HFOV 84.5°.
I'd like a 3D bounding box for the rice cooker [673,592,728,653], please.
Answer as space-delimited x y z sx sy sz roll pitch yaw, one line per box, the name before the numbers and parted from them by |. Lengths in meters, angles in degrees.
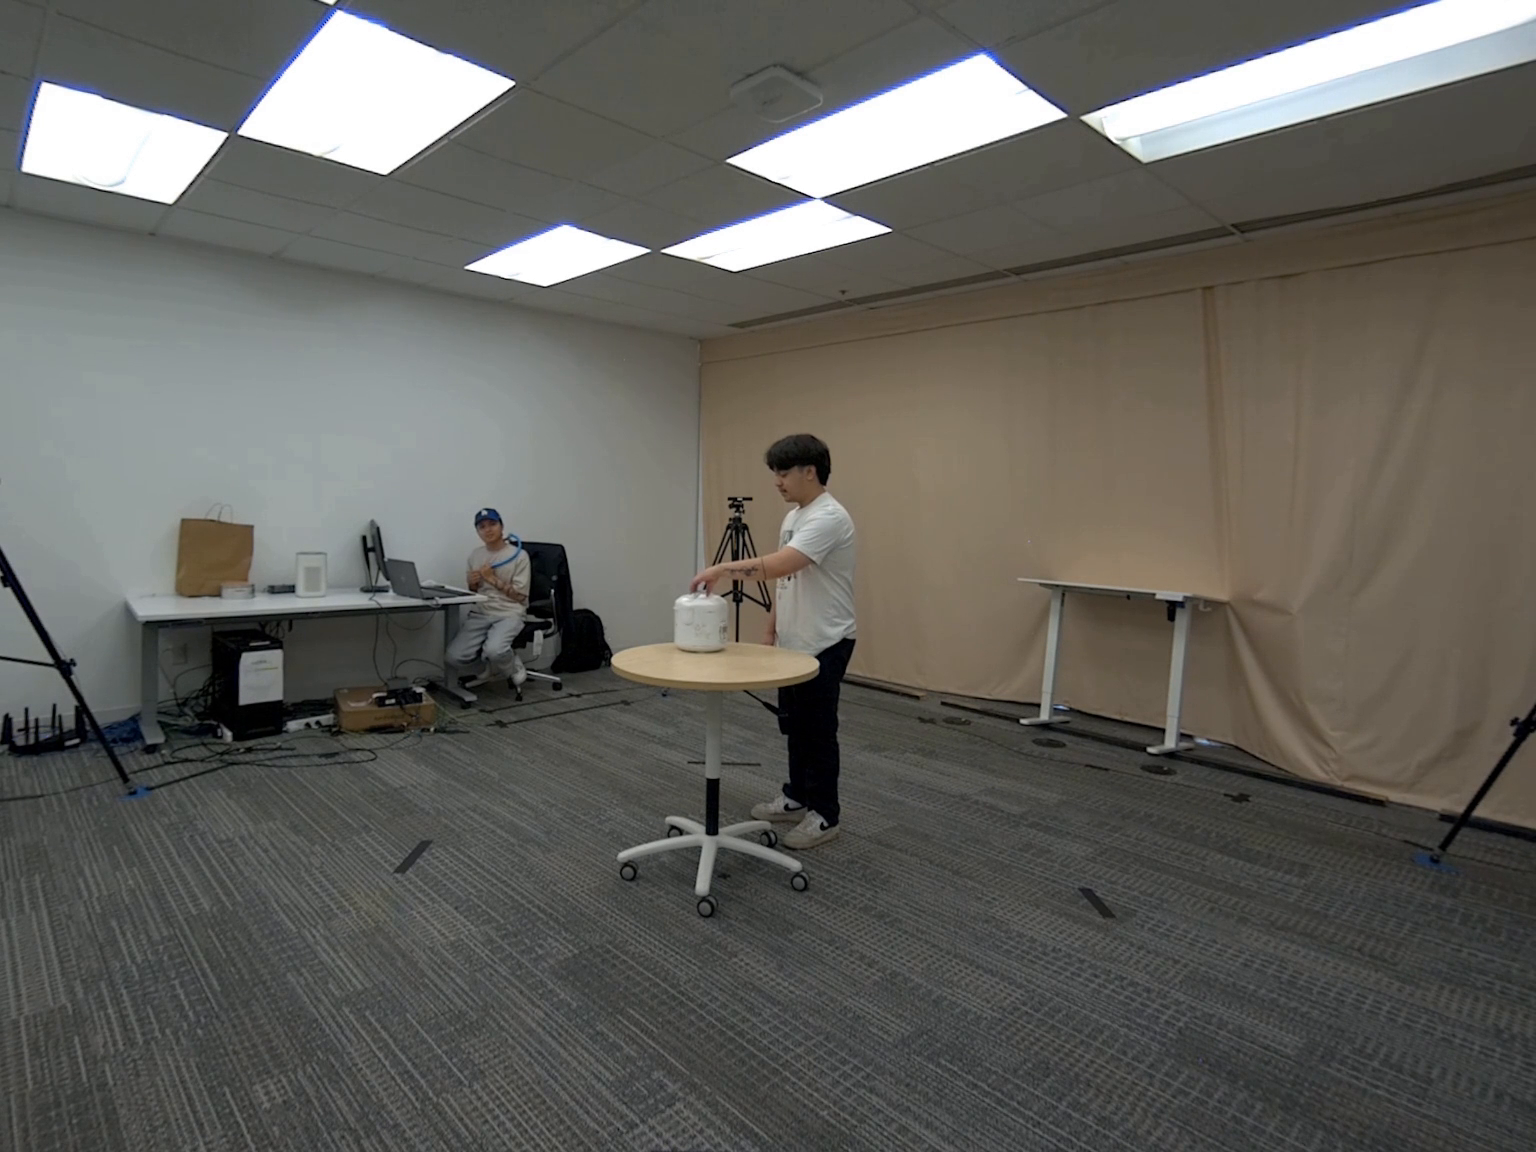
rice cooker | -0.268 0.170 3.311 0.222 0.232 0.217 3 5 28
